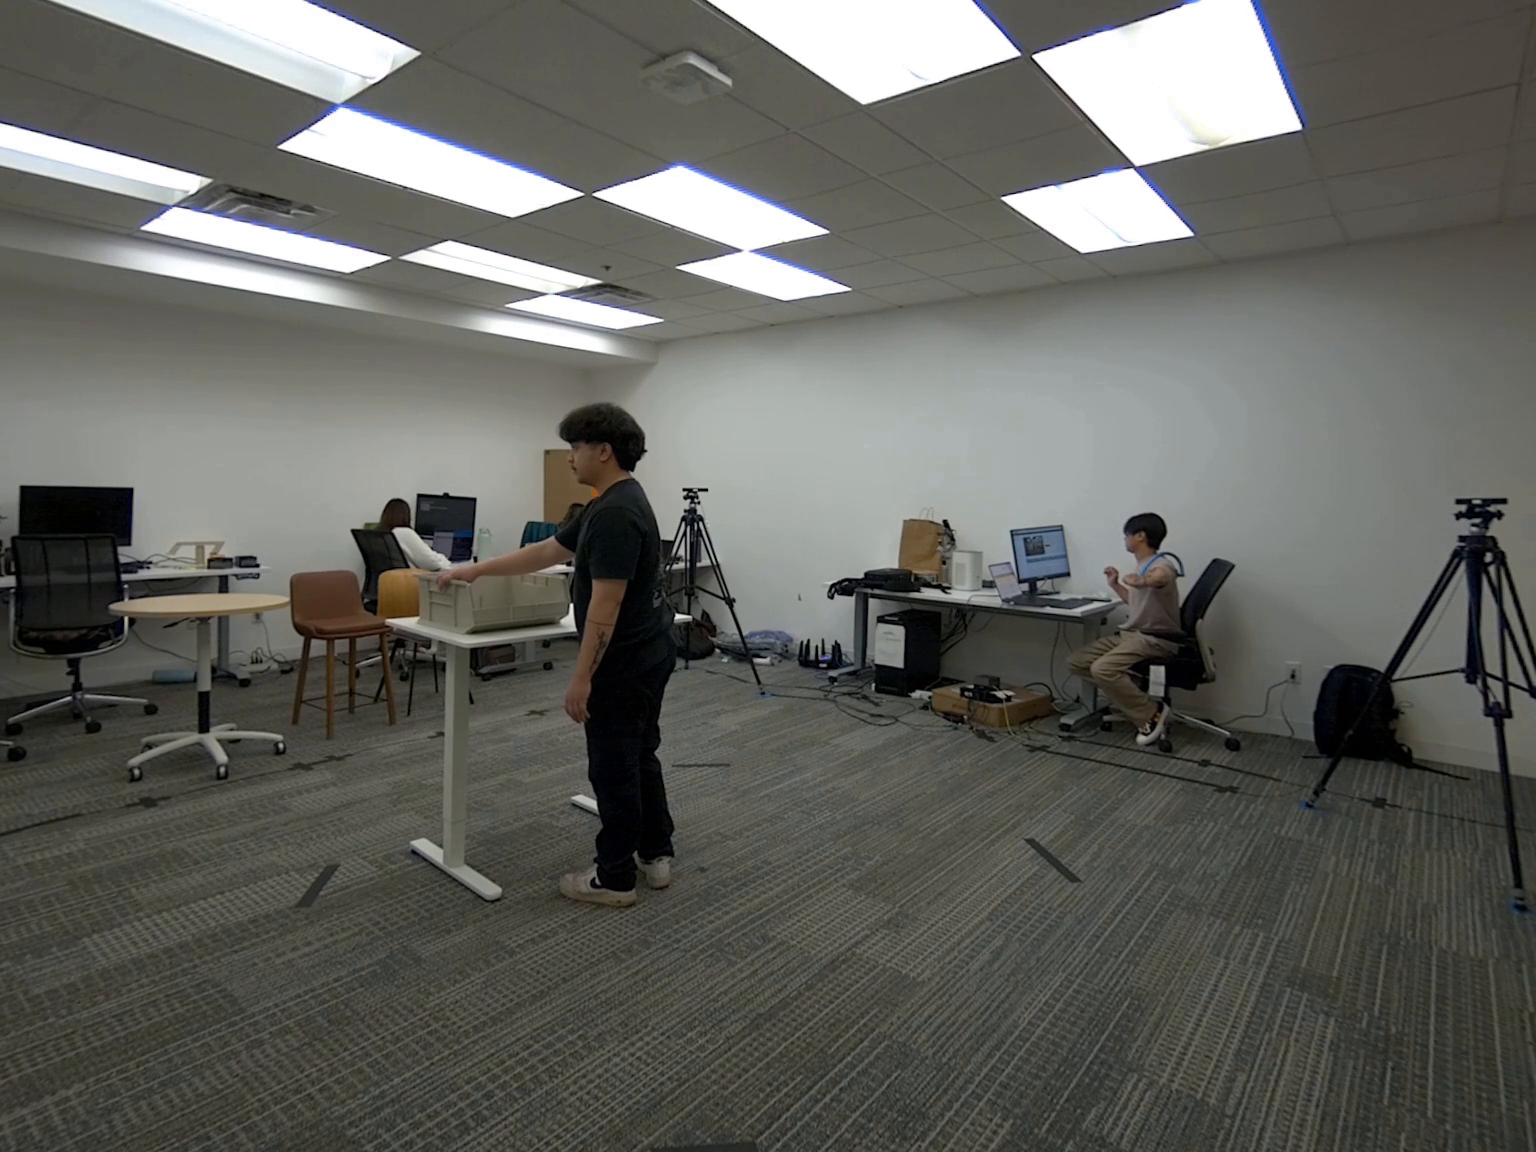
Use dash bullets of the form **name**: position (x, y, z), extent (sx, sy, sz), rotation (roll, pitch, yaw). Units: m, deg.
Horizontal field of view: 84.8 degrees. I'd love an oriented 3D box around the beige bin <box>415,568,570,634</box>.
- **beige bin**: position (-1.012, 0.088, 3.098), extent (0.390, 0.188, 0.410), rotation (4, 6, 39)
